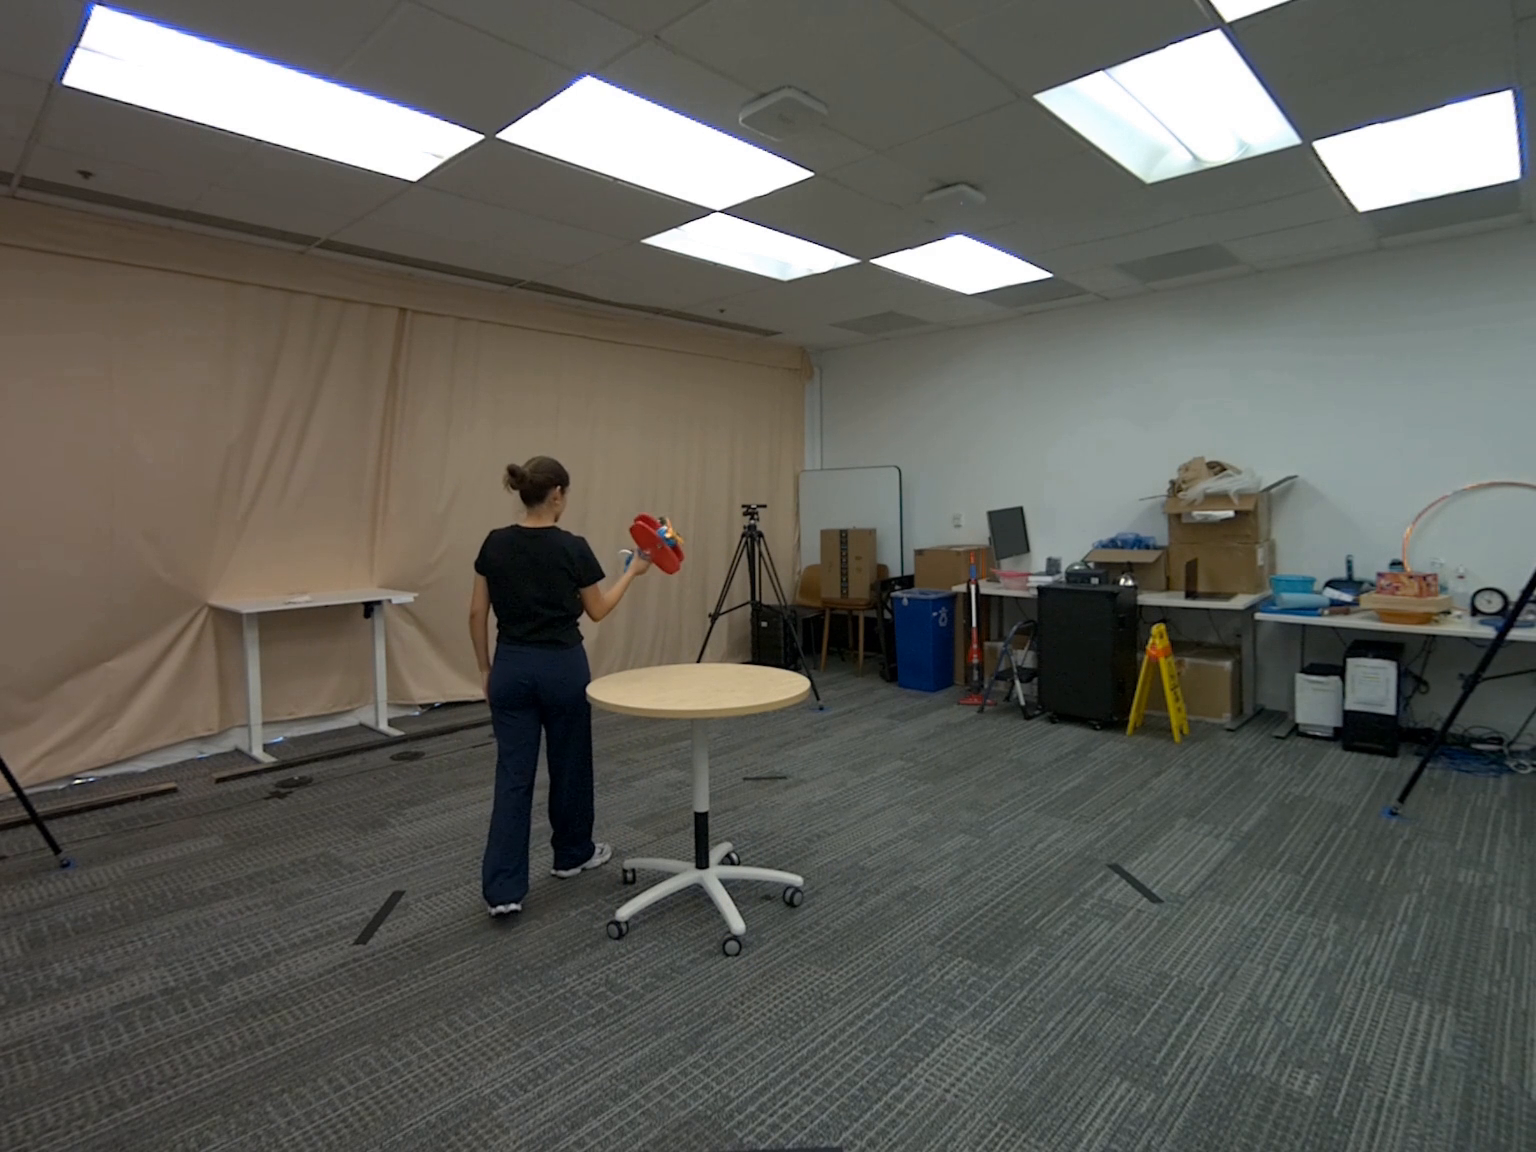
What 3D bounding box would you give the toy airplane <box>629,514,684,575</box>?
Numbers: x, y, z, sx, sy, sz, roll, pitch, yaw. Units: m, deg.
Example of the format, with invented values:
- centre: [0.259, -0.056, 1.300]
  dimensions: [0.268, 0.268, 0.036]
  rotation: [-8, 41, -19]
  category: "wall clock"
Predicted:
- centre: [-0.450, -0.096, 3.335]
  dimensions: [0.248, 0.258, 0.158]
  rotation: [20, 18, -9]
  category: "toy airplane"
